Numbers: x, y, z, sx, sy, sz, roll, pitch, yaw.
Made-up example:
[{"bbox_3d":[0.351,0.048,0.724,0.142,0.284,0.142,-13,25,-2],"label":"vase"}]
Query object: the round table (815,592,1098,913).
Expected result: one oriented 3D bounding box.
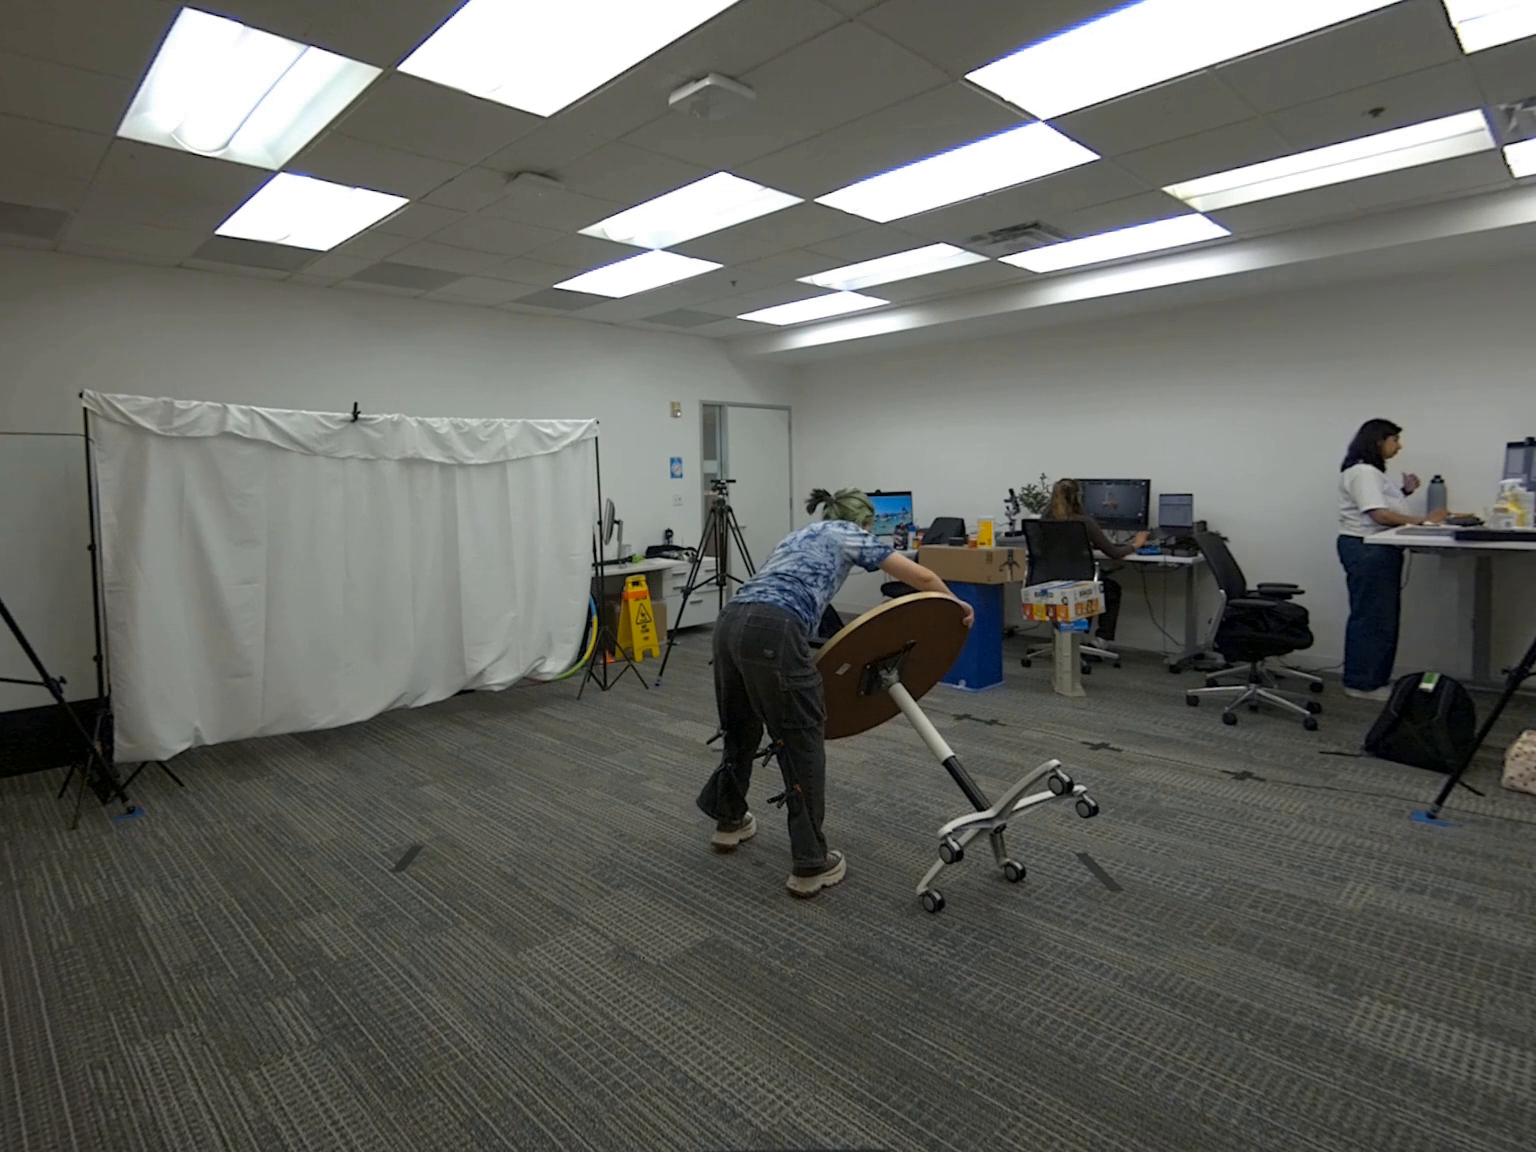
[{"bbox_3d":[0.608,0.600,2.947,0.745,0.753,0.825,-4,42,-32],"label":"round table"}]
